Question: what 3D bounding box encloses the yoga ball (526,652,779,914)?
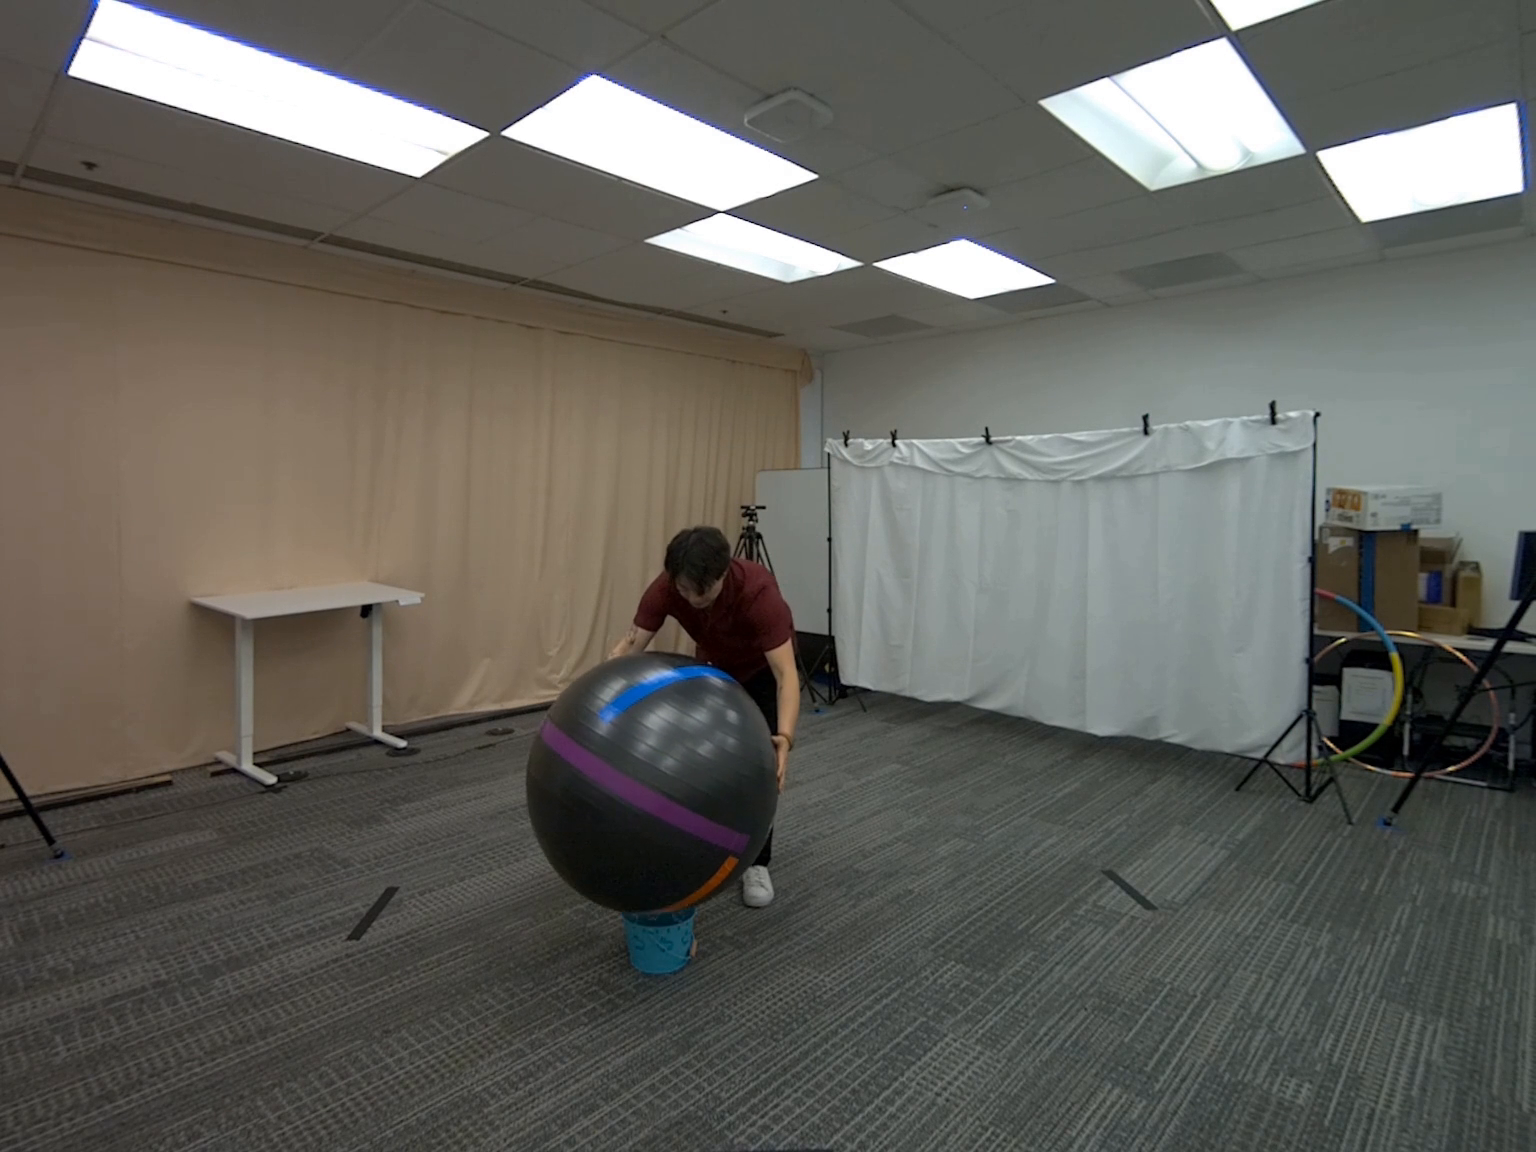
[{"bbox_3d":[-0.344,0.611,2.545,0.757,0.756,0.760,0,4,-2],"label":"yoga ball"}]
